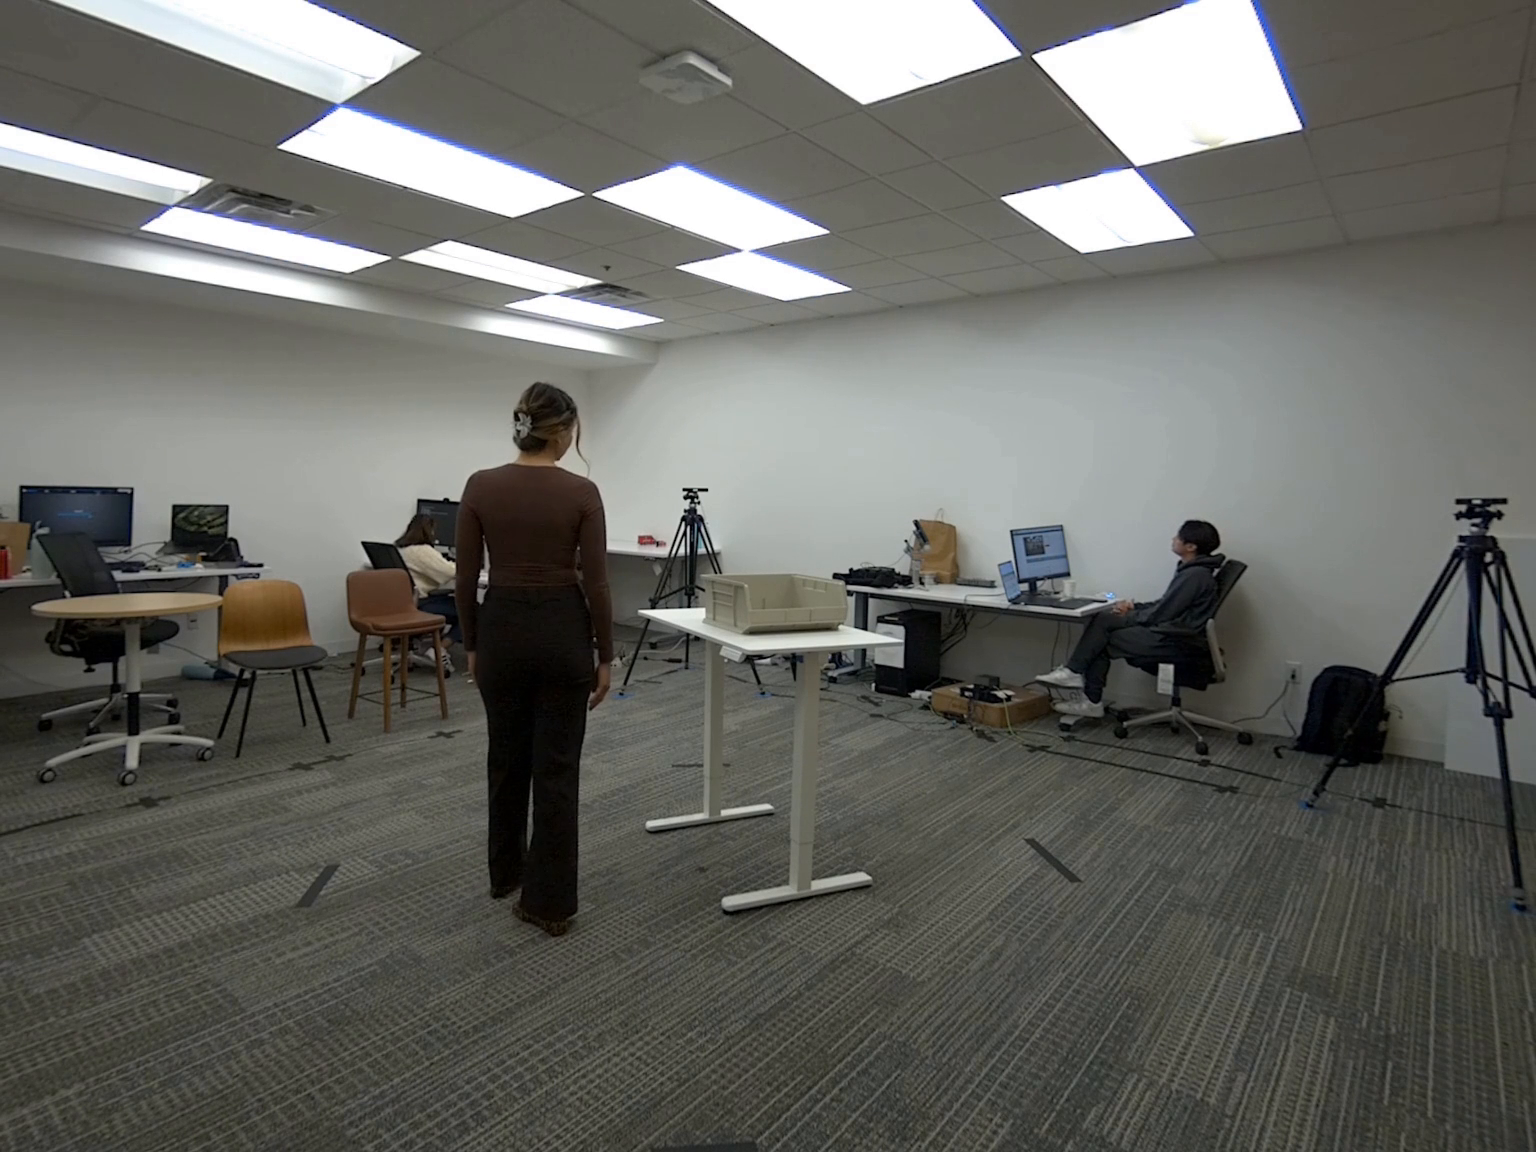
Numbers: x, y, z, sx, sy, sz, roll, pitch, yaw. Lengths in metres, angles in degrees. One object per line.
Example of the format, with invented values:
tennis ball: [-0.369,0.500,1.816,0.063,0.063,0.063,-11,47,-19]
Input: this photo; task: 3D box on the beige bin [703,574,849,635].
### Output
beige bin: [0.013,0.097,3.153,0.411,0.188,0.388,-2,4,-29]
